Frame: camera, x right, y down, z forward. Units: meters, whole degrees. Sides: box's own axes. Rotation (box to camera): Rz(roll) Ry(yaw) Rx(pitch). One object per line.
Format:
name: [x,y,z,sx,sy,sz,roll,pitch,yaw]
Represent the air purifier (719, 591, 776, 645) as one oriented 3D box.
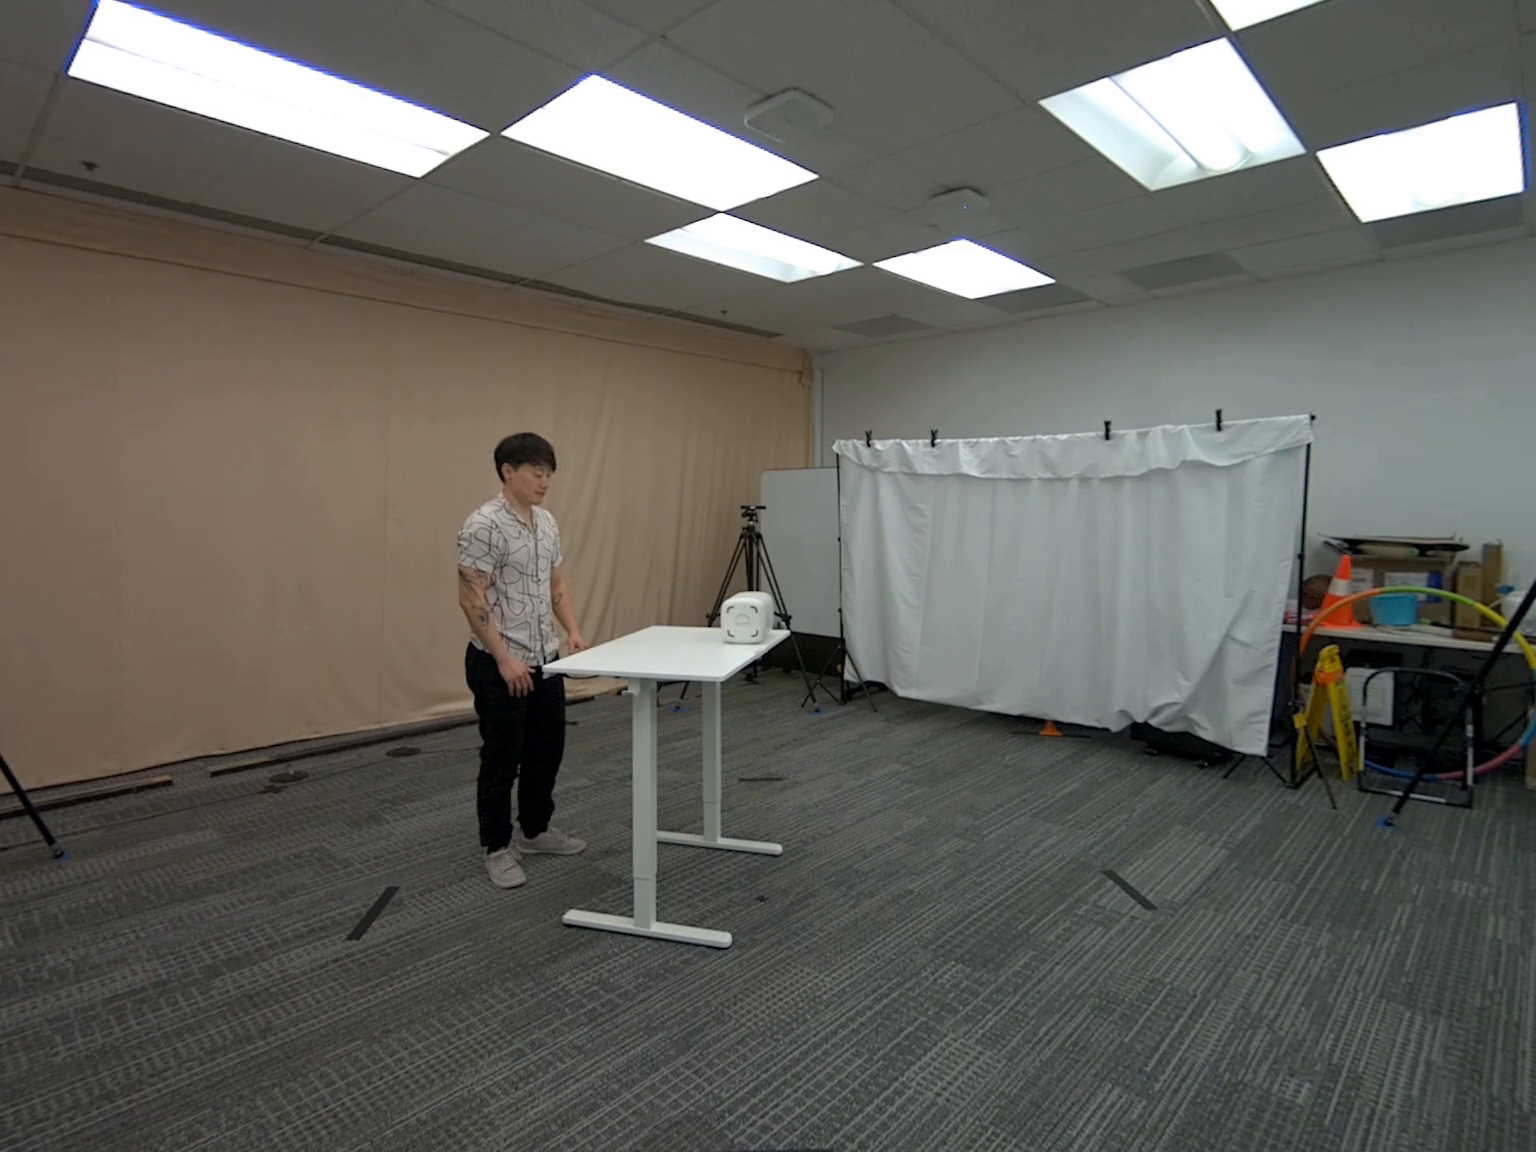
air purifier: [-0.073,0.157,3.211,0.174,0.170,0.263,3,4,10]
